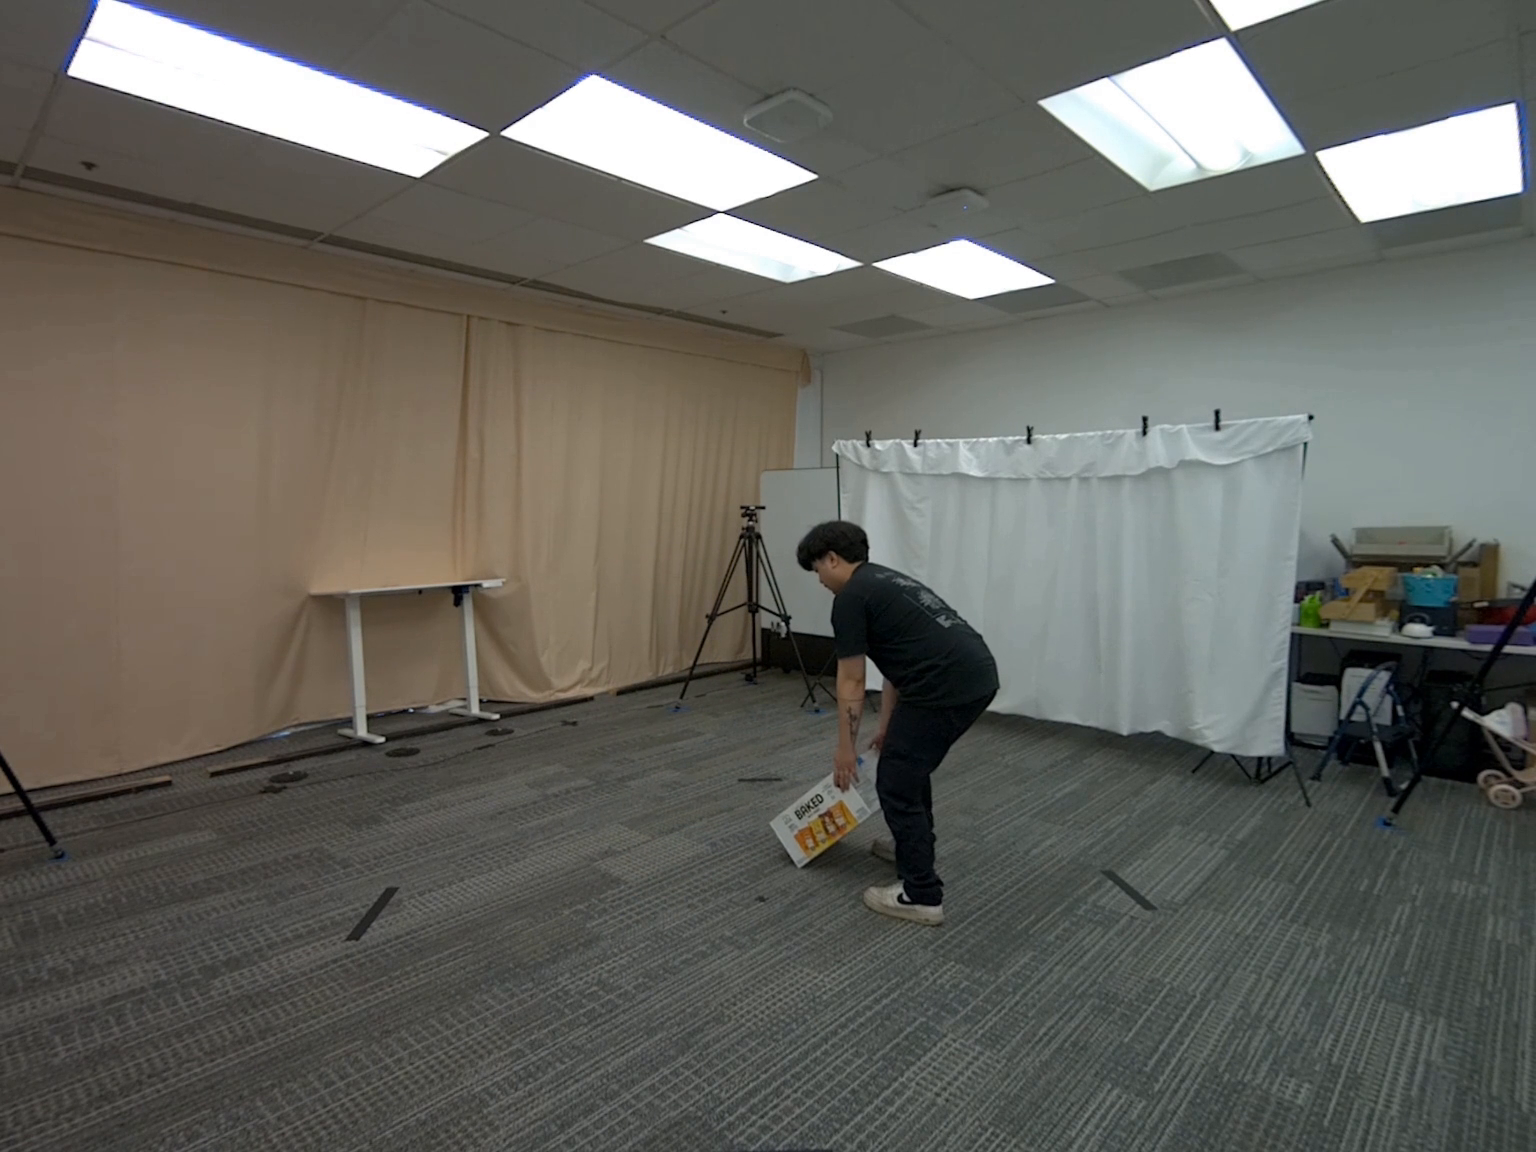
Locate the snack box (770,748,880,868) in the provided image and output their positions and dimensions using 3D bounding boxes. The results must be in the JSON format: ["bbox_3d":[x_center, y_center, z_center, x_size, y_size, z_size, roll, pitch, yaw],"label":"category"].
[{"bbox_3d":[0.281,0.906,3.314,0.408,0.210,0.331,-46,-20,26],"label":"snack box"}]
